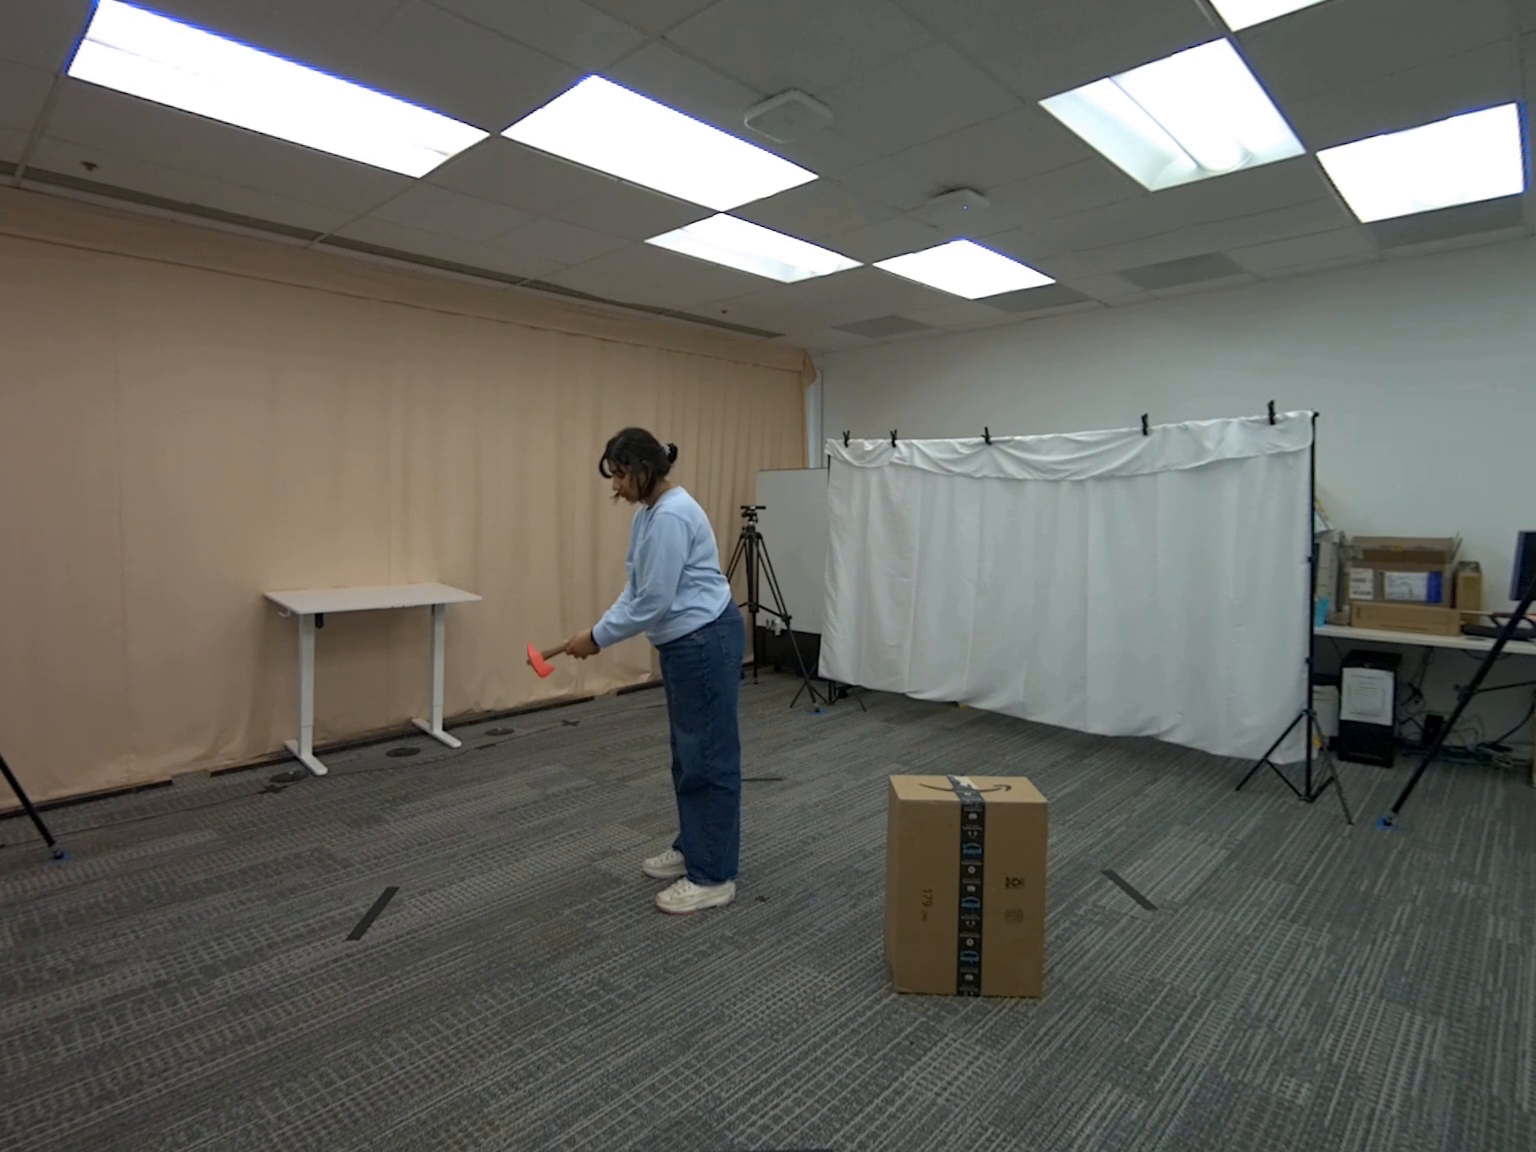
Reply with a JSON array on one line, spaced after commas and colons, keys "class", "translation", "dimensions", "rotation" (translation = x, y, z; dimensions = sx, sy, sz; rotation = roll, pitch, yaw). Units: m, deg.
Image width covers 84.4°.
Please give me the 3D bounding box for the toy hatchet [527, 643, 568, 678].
[{"class": "toy hatchet", "translation": [-0.702, 0.280, 2.966], "dimensions": [0.265, 0.133, 0.030], "rotation": [-1, -19, -20]}]
